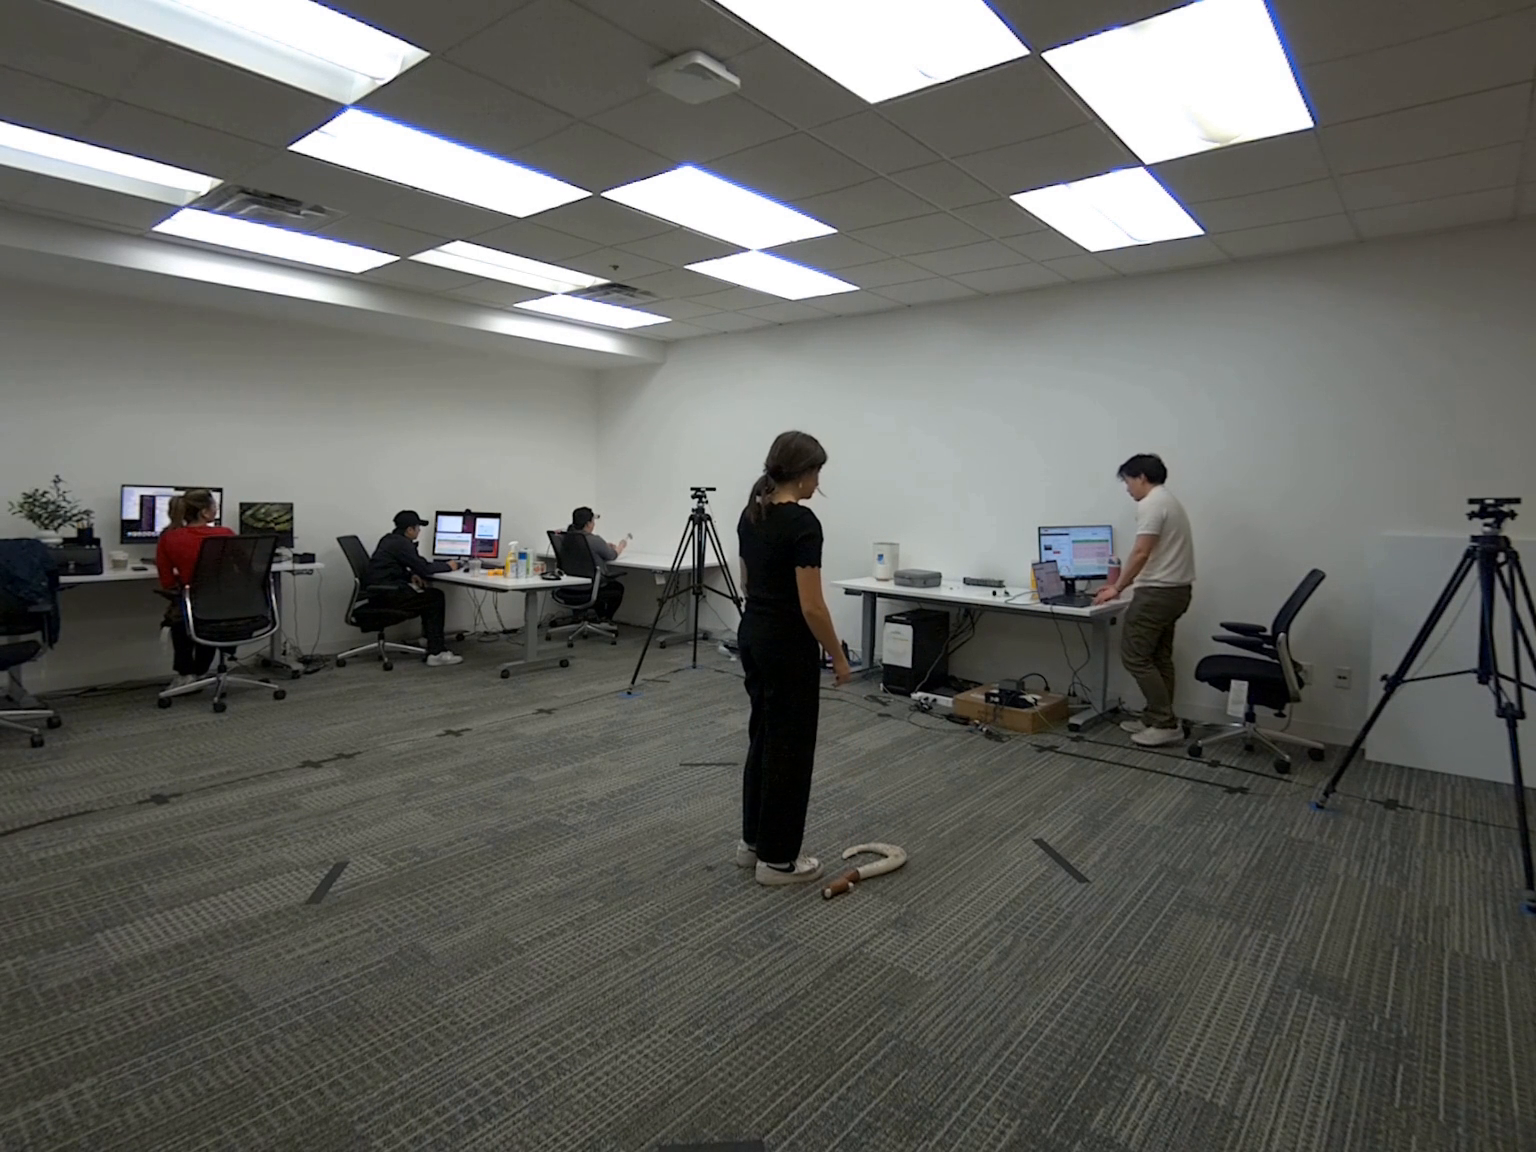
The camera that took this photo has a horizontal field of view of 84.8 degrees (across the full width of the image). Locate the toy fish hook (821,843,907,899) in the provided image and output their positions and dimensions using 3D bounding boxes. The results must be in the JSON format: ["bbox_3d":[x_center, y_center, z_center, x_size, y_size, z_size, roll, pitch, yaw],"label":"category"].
[{"bbox_3d":[0.306,1.066,3.105,0.231,0.048,0.491,-5,0,42],"label":"toy fish hook"}]
